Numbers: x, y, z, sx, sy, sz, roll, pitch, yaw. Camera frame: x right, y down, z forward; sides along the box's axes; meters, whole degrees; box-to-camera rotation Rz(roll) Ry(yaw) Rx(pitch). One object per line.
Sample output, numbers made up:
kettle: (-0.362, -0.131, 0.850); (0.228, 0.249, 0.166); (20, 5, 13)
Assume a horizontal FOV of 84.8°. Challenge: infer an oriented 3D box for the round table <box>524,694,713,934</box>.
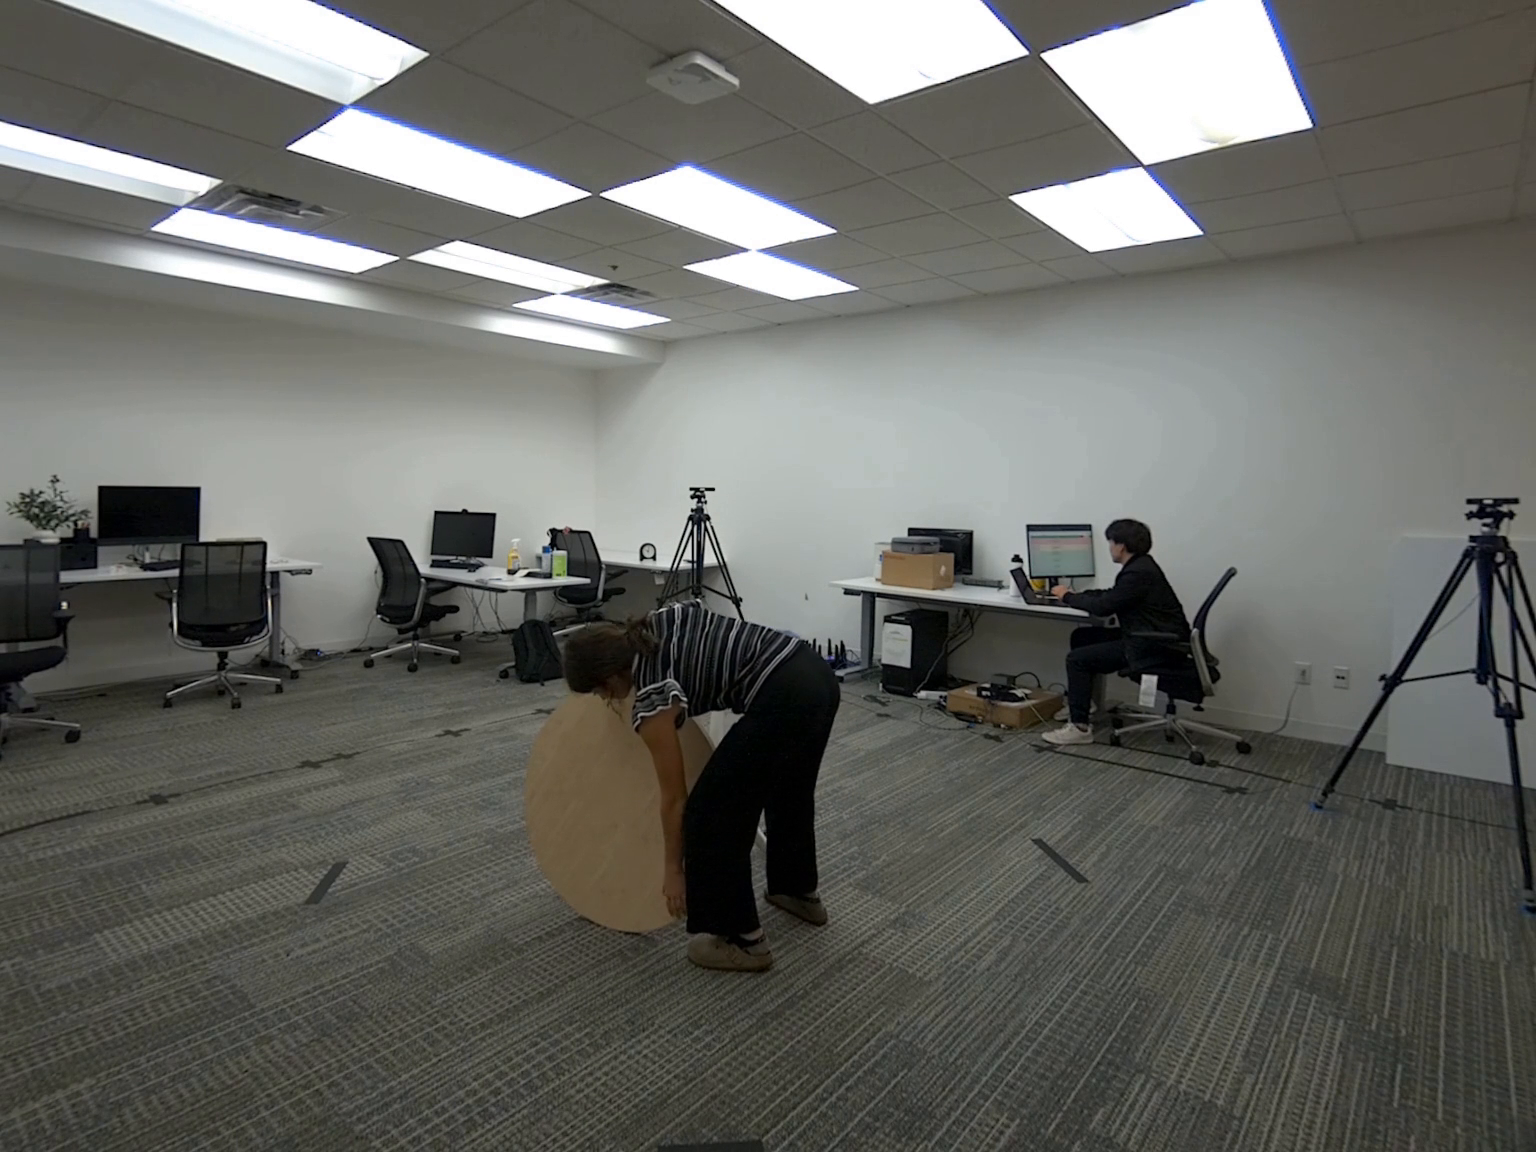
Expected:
round table: (-0.325, 0.741, 3.039); (0.784, 0.766, 0.771); (3, -2, 25)
